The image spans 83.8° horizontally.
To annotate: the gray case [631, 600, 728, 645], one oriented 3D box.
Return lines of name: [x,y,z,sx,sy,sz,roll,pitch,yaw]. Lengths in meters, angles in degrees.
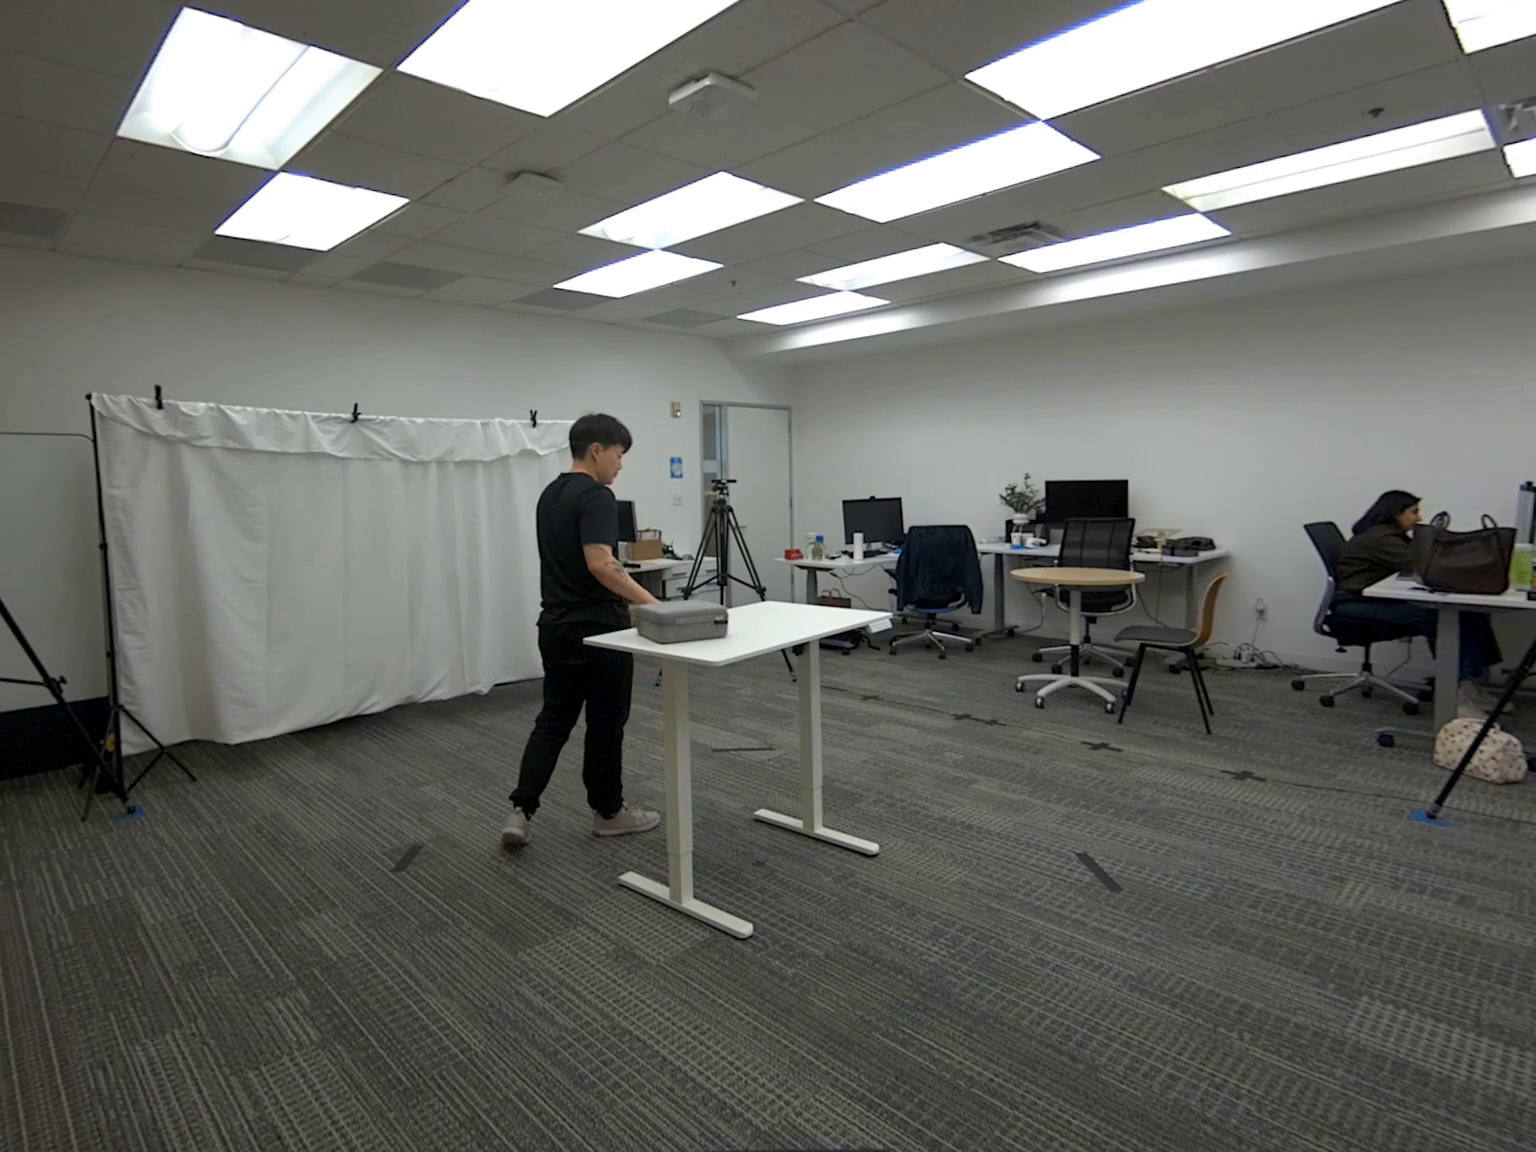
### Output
gray case: [-0.288,0.149,2.853,0.252,0.104,0.267,-5,6,-25]
